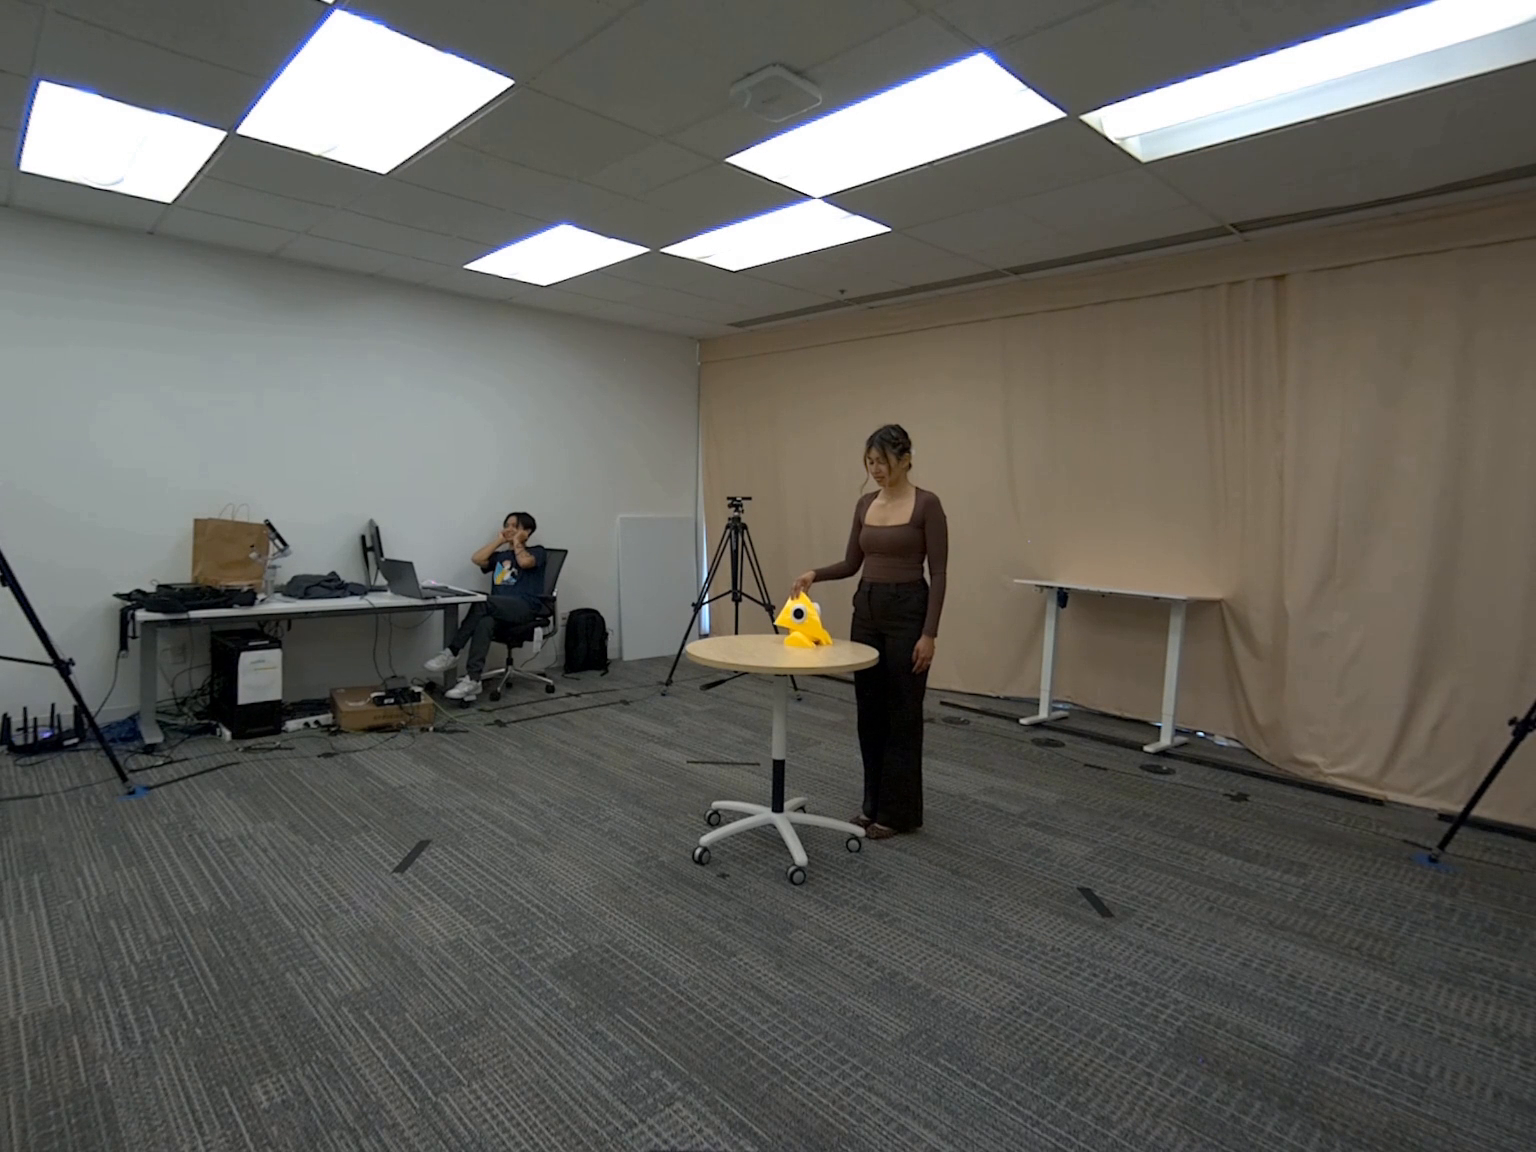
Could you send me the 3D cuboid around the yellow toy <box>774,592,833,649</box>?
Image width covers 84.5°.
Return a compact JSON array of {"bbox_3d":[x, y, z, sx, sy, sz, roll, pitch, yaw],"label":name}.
[{"bbox_3d":[0.154,0.169,3.511,0.198,0.230,0.200,6,5,43],"label":"yellow toy"}]
